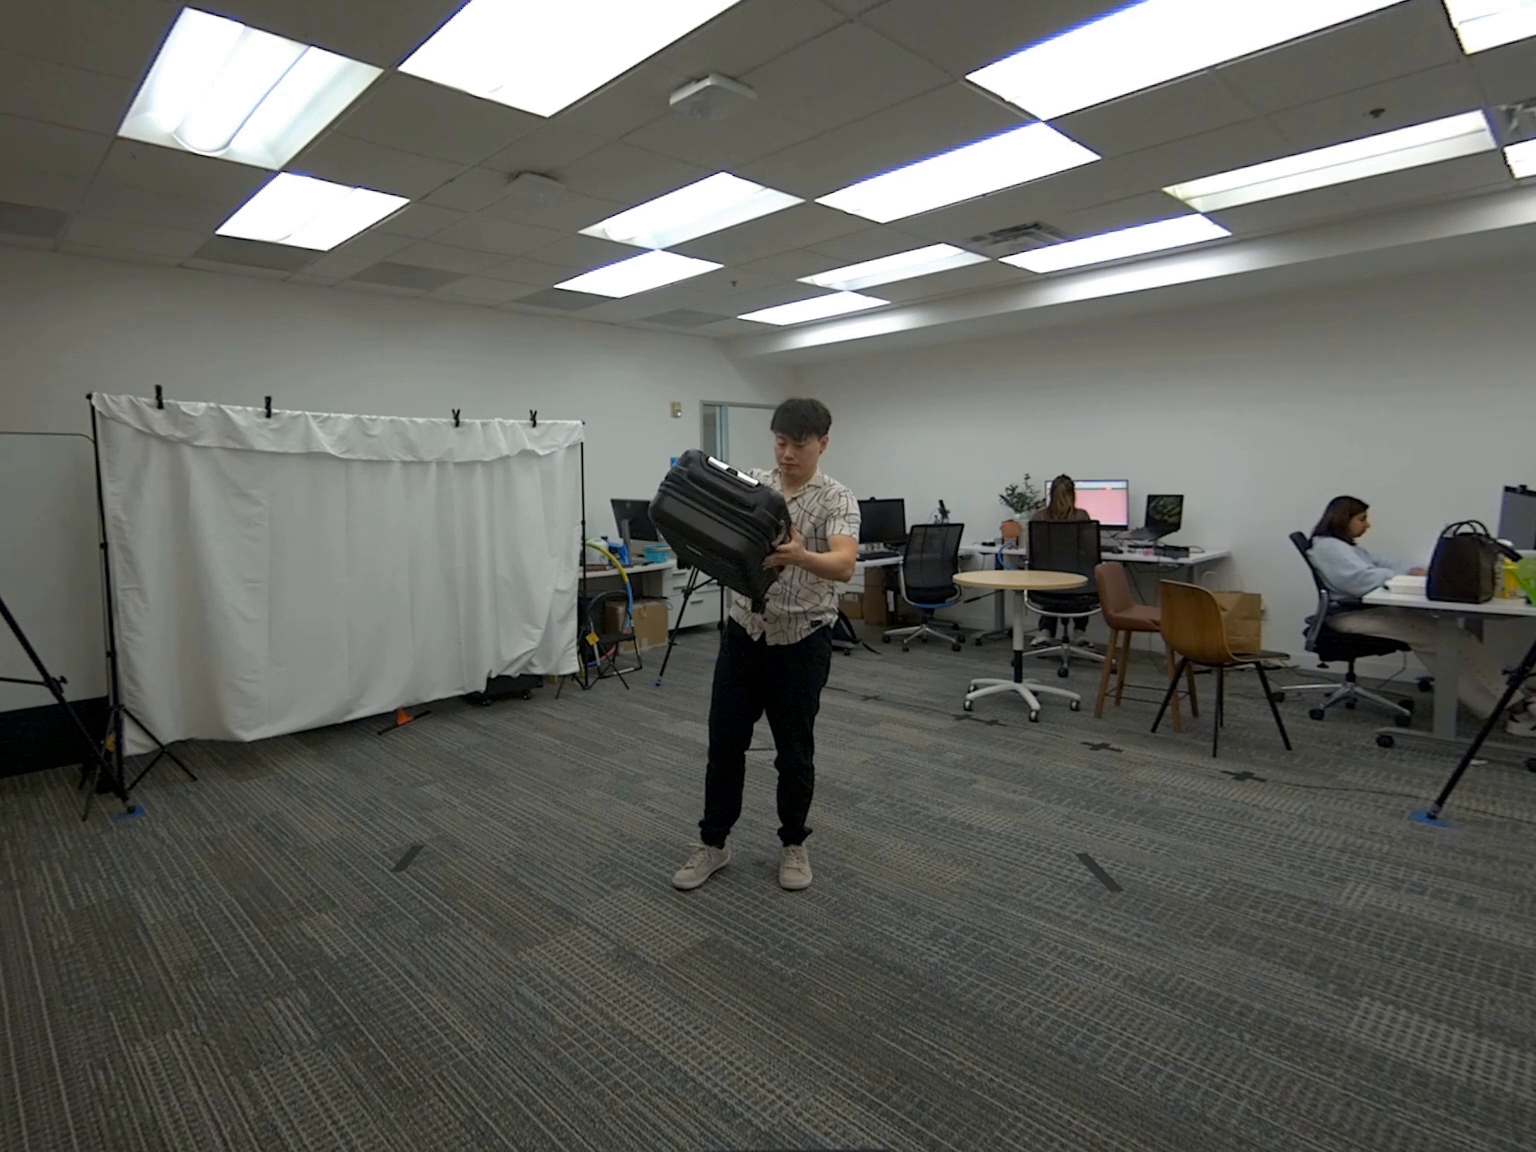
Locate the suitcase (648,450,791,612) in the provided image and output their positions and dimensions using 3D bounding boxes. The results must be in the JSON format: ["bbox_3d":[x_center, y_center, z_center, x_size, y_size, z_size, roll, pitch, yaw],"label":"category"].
[{"bbox_3d":[-0.118,-0.141,2.570,0.383,0.249,0.537,31,-8,14],"label":"suitcase"}]
